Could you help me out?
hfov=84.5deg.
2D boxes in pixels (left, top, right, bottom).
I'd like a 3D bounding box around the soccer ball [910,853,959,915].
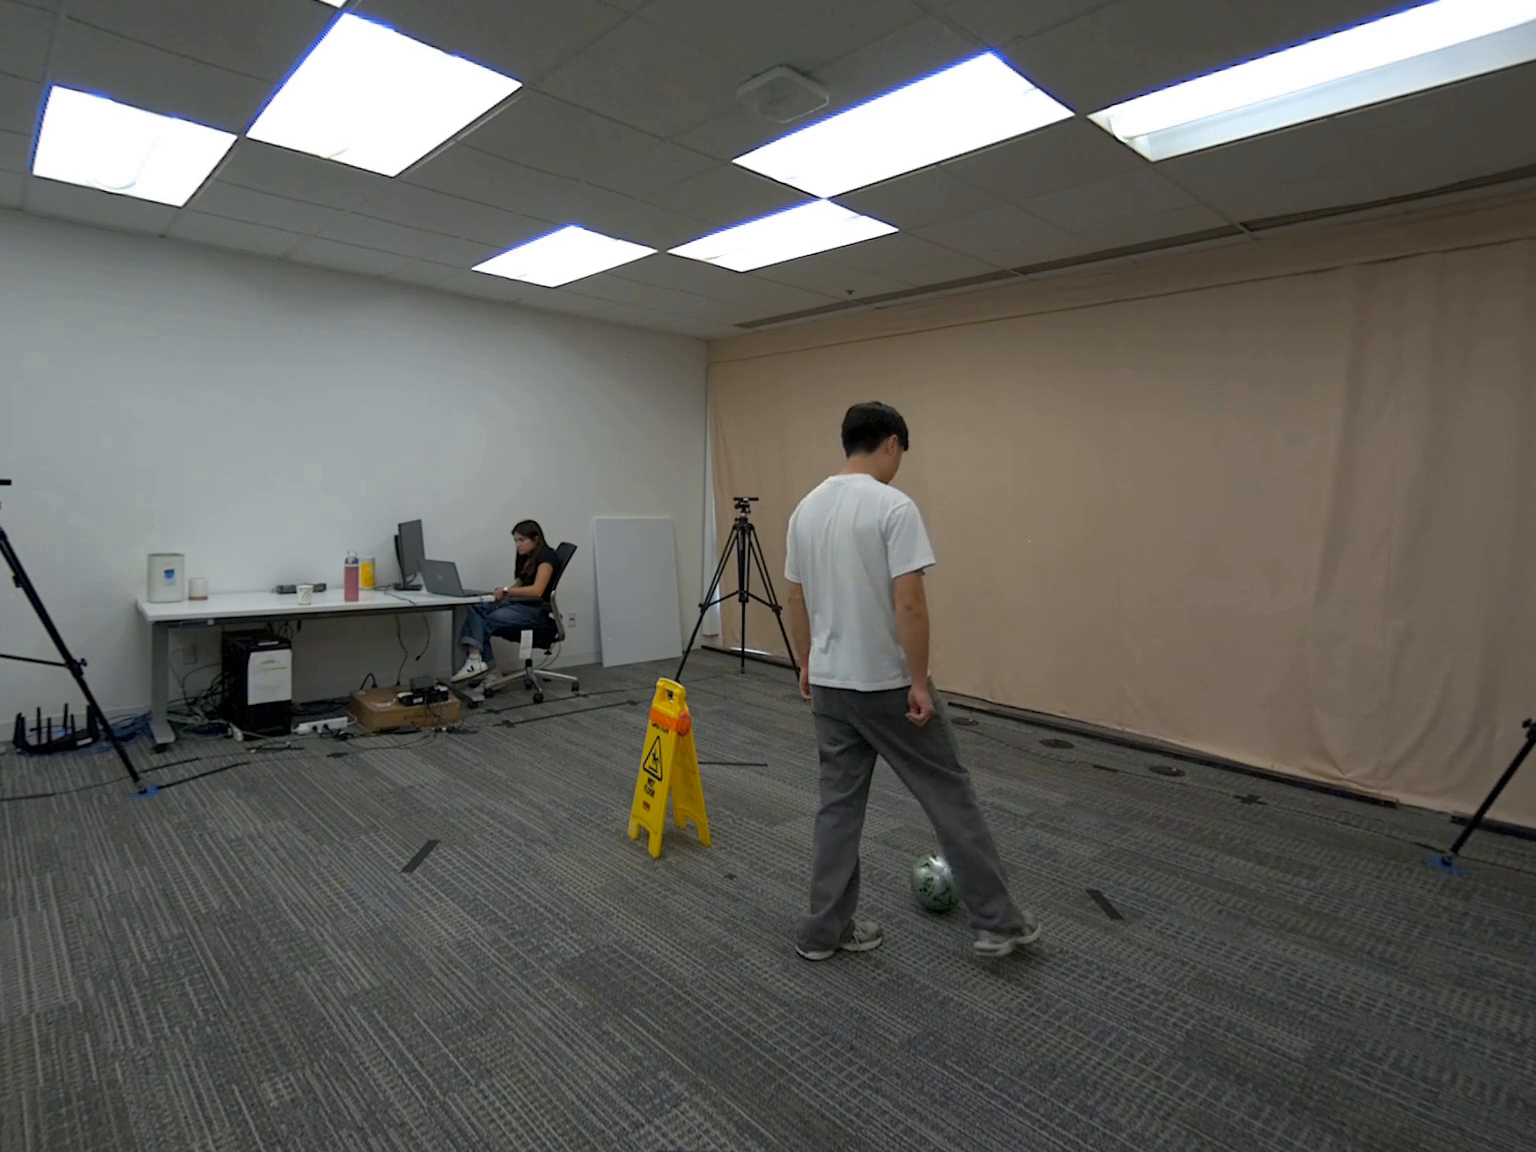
[{"bbox_3d":[0.573,1.057,2.891,0.187,0.187,0.188,1,4,-1],"label":"soccer ball"}]
